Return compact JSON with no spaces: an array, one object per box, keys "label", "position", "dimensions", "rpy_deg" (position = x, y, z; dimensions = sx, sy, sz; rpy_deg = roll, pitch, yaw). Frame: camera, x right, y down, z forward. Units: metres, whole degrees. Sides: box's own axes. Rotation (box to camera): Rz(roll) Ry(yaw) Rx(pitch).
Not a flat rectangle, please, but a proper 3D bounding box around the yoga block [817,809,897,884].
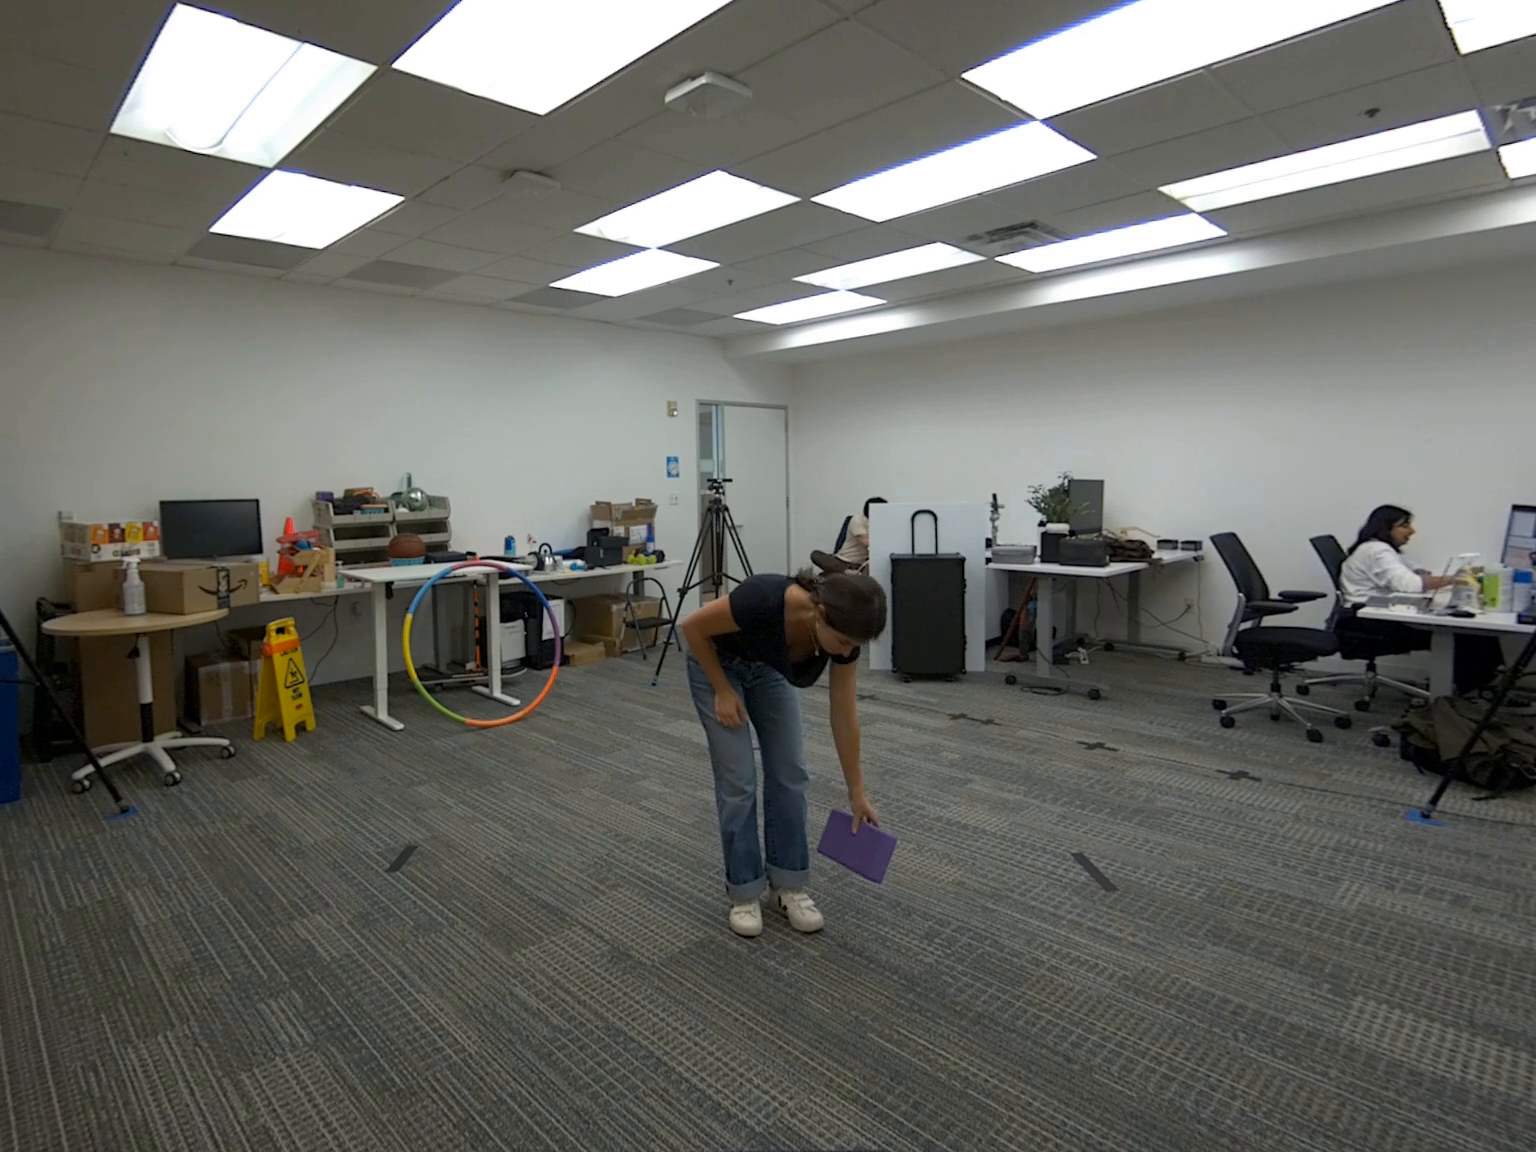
[{"label":"yoga block","position":[0.274,0.830,2.651],"dimensions":[0.237,0.150,0.073],"rpy_deg":[13,-14,47]}]
